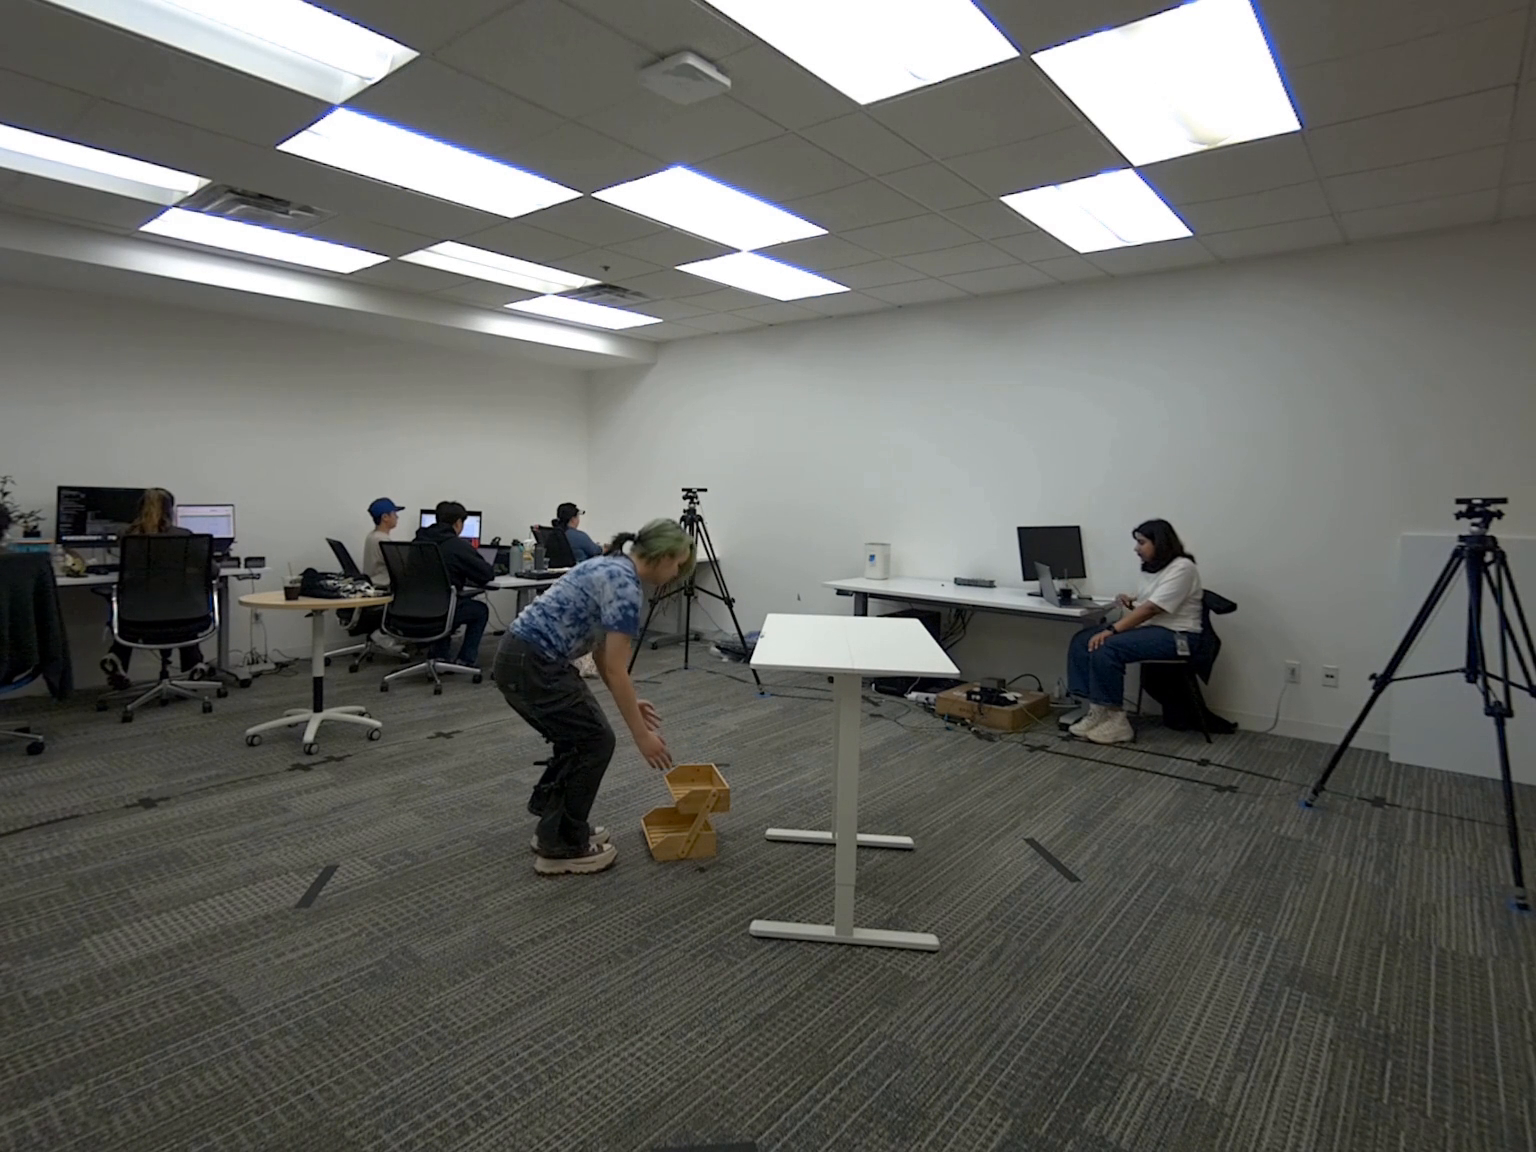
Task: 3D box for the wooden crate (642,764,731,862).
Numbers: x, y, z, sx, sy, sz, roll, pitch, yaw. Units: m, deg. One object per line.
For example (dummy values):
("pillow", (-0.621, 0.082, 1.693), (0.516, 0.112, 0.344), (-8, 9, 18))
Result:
("wooden crate", (-0.341, 0.914, 3.343), (0.297, 0.272, 0.331), (0, 4, -16))
